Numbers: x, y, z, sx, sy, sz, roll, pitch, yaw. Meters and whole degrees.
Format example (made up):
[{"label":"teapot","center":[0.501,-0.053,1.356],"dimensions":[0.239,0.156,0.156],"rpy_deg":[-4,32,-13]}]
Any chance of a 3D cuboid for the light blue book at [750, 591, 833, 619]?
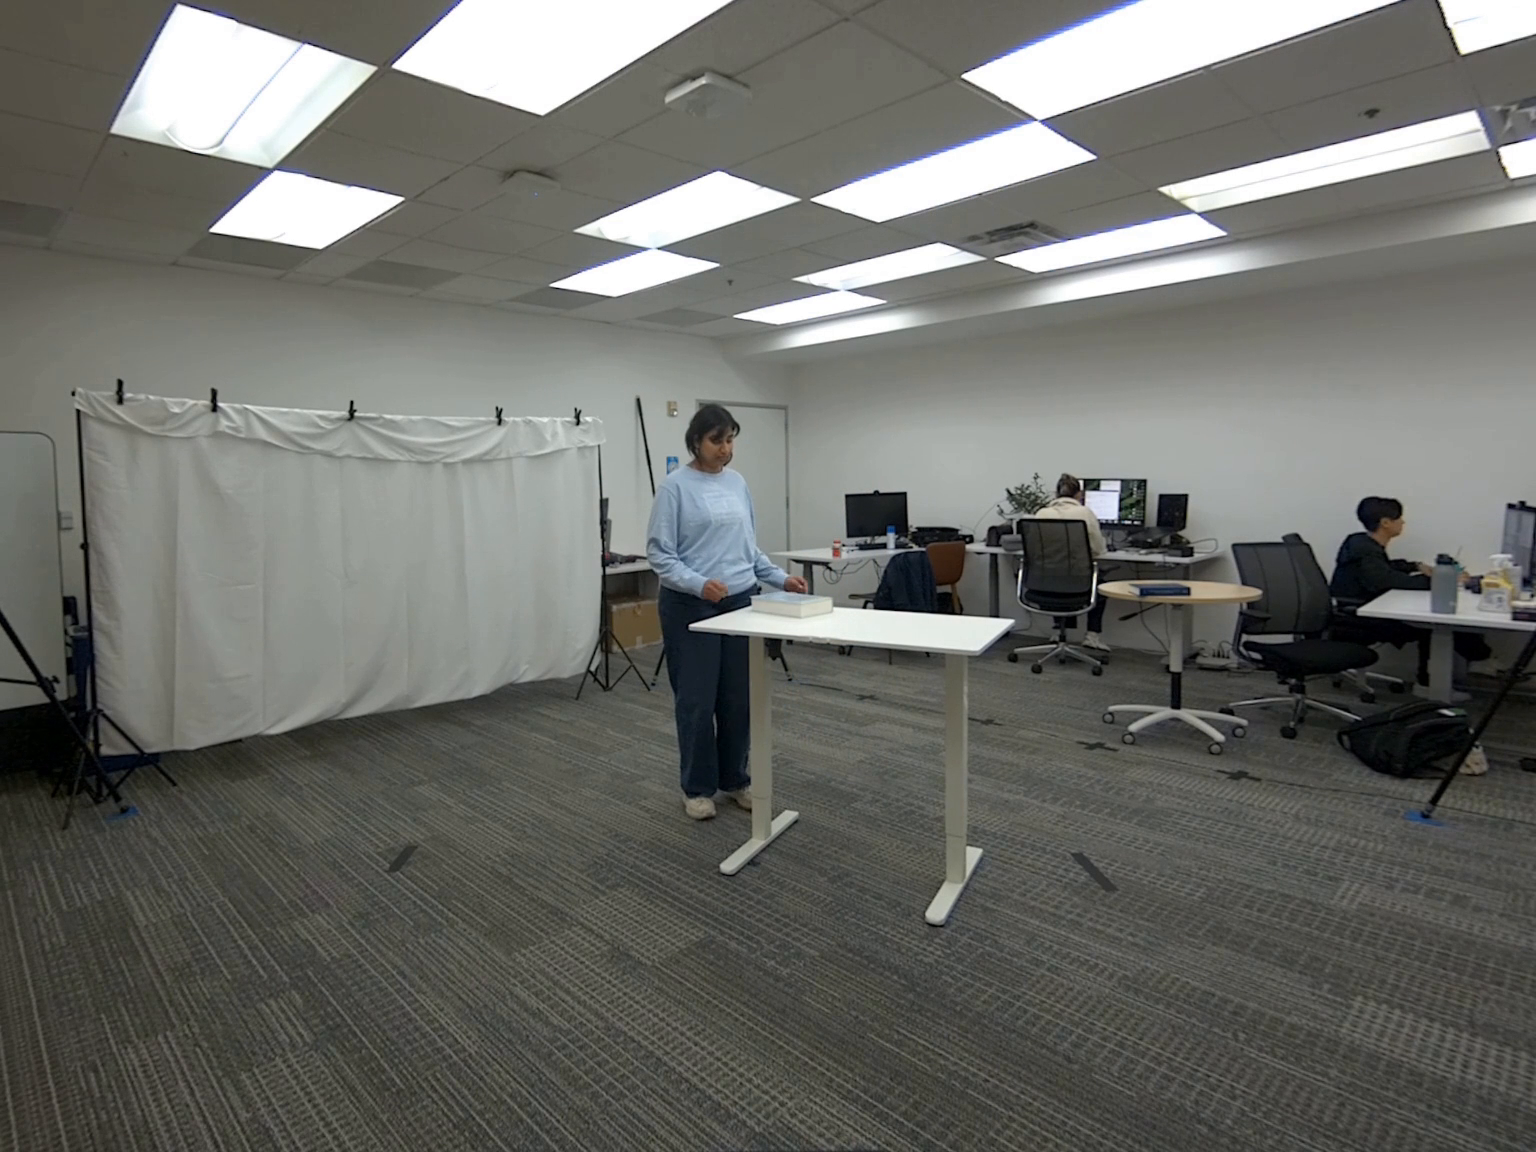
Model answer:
[{"label":"light blue book","center":[0.090,0.114,3.277],"dimensions":[0.186,0.059,0.269],"rpy_deg":[-7,8,-44]}]
